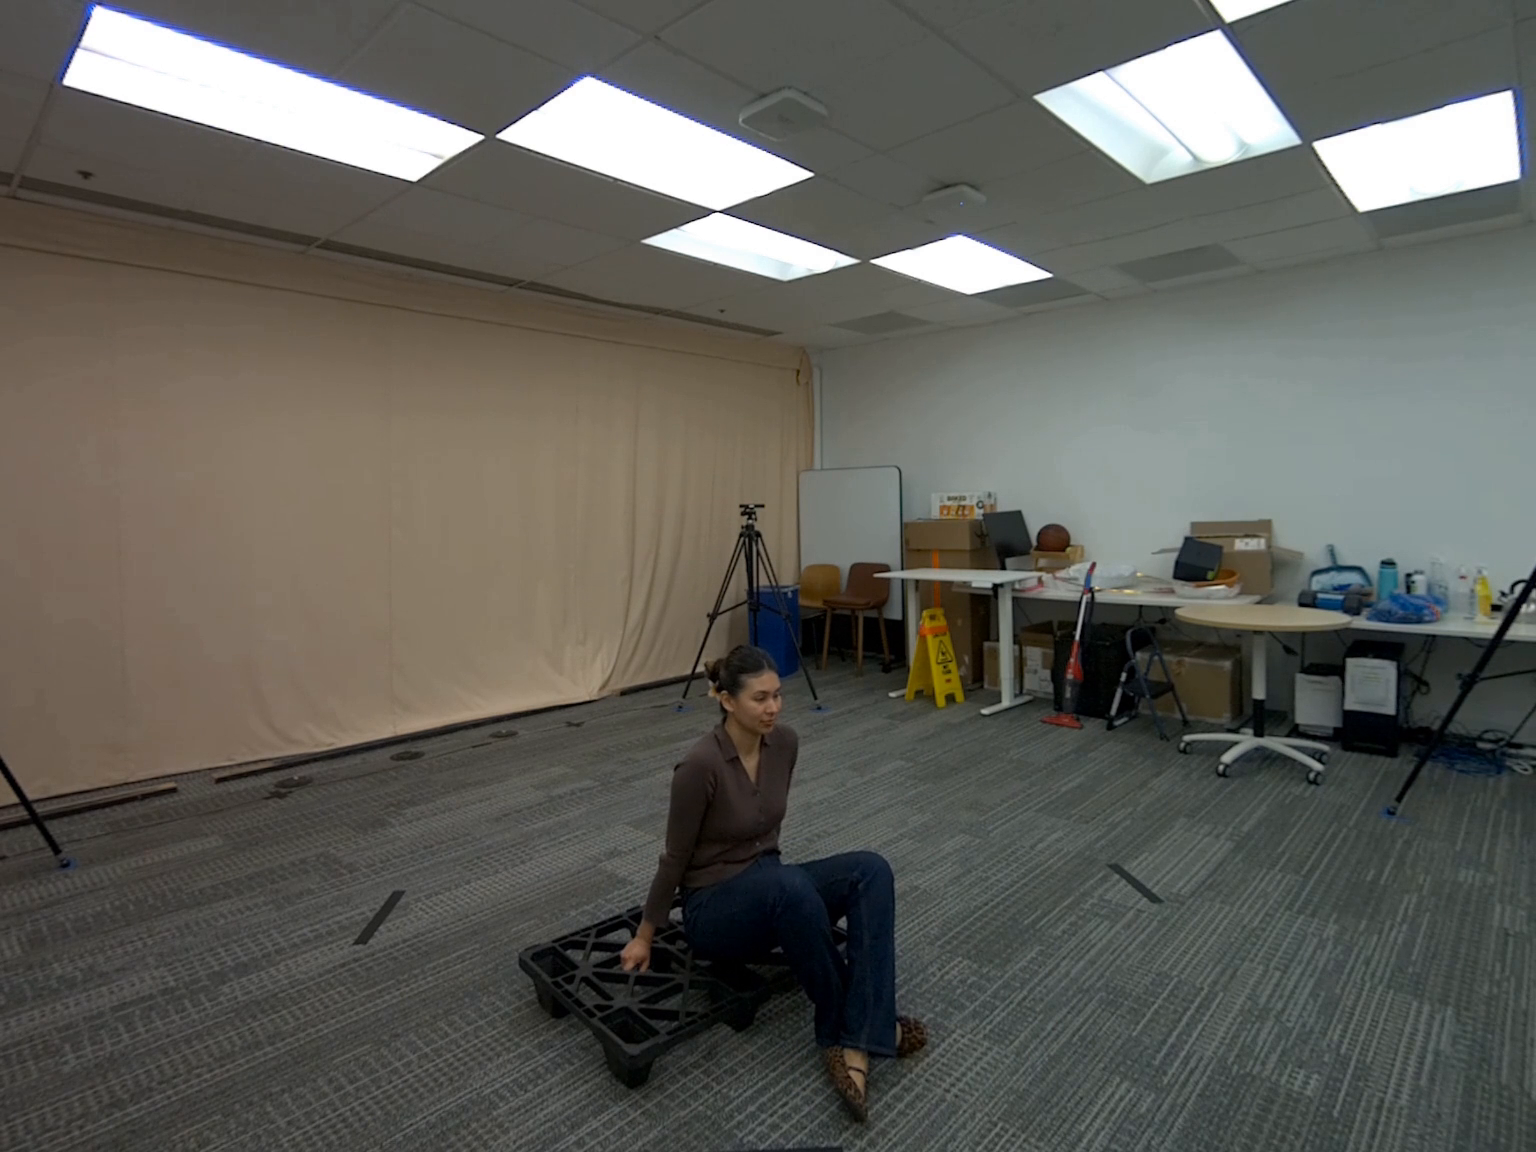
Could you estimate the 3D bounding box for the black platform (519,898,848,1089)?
[{"bbox_3d":[-0.222,1.128,2.417,0.781,0.143,0.625,-5,6,-40],"label":"black platform"}]
